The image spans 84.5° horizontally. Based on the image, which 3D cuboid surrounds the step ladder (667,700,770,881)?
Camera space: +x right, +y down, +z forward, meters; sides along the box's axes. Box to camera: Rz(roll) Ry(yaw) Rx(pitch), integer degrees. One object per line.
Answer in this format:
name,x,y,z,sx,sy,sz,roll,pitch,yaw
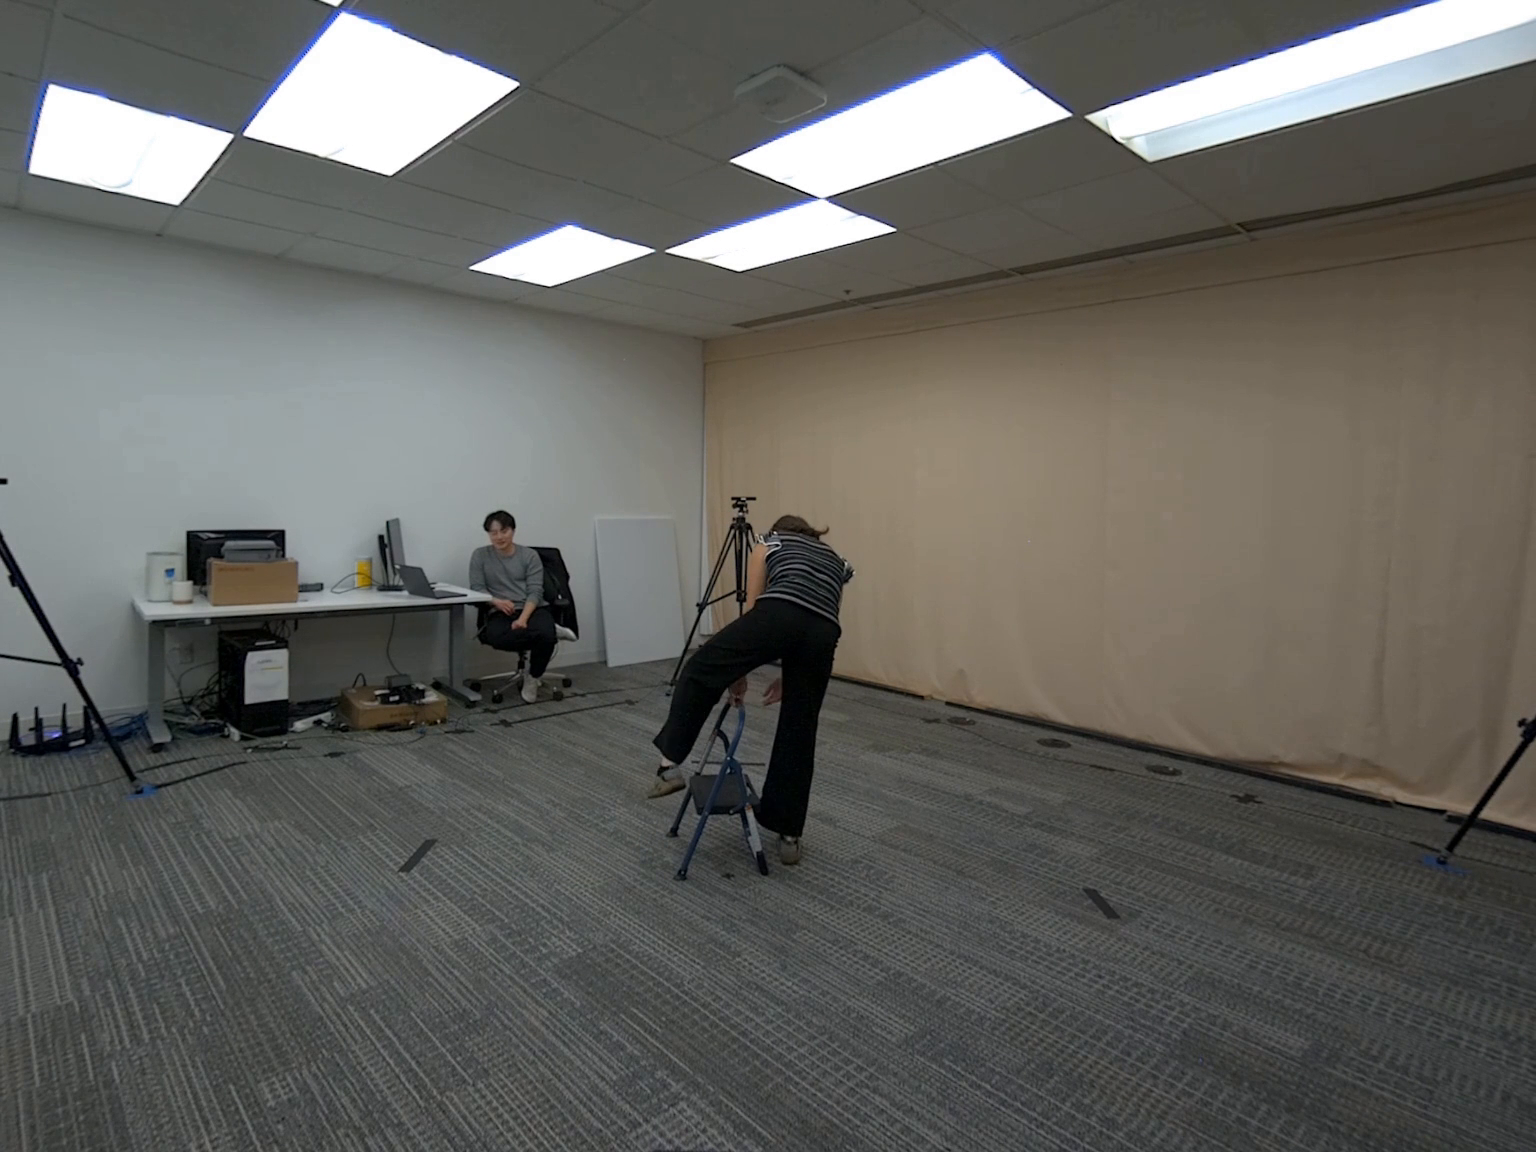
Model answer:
step ladder,-0.203,0.790,3.273,0.346,0.604,0.435,1,4,-10
